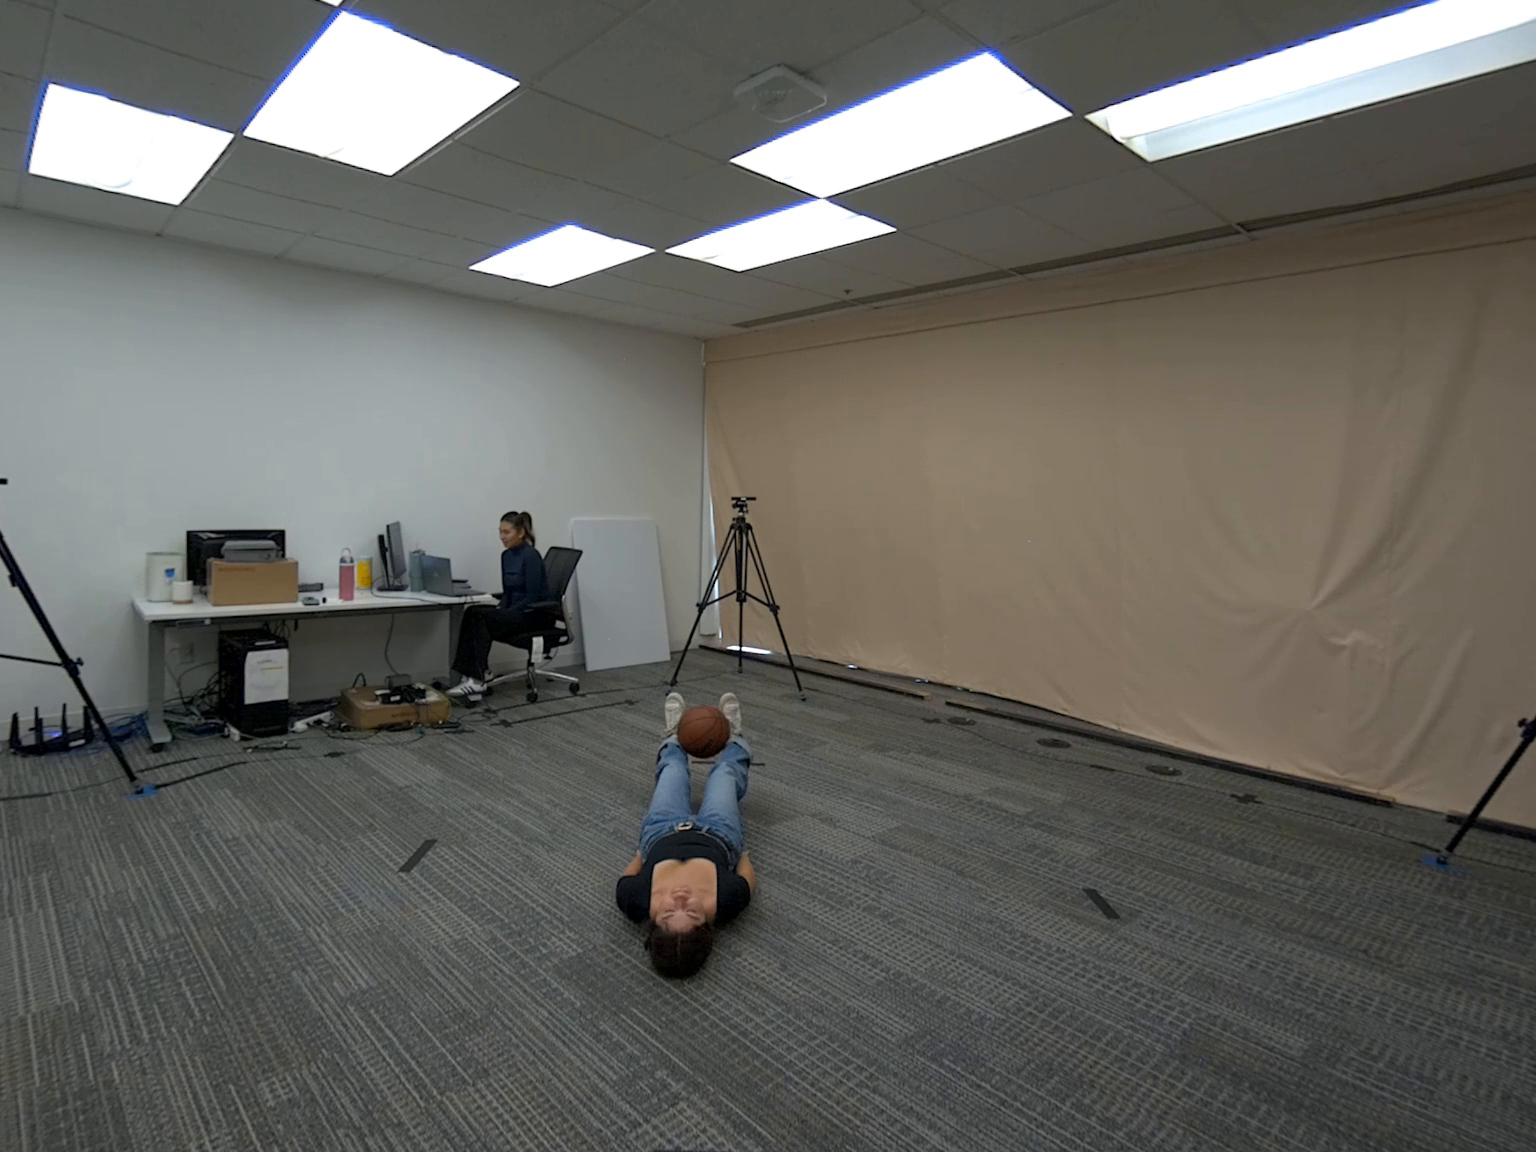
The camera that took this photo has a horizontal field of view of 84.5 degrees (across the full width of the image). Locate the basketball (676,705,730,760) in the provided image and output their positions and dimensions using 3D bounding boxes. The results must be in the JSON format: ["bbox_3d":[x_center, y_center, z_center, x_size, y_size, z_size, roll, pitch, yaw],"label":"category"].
[{"bbox_3d":[-0.305,0.703,3.828,0.236,0.235,0.237,1,4,-1],"label":"basketball"}]
